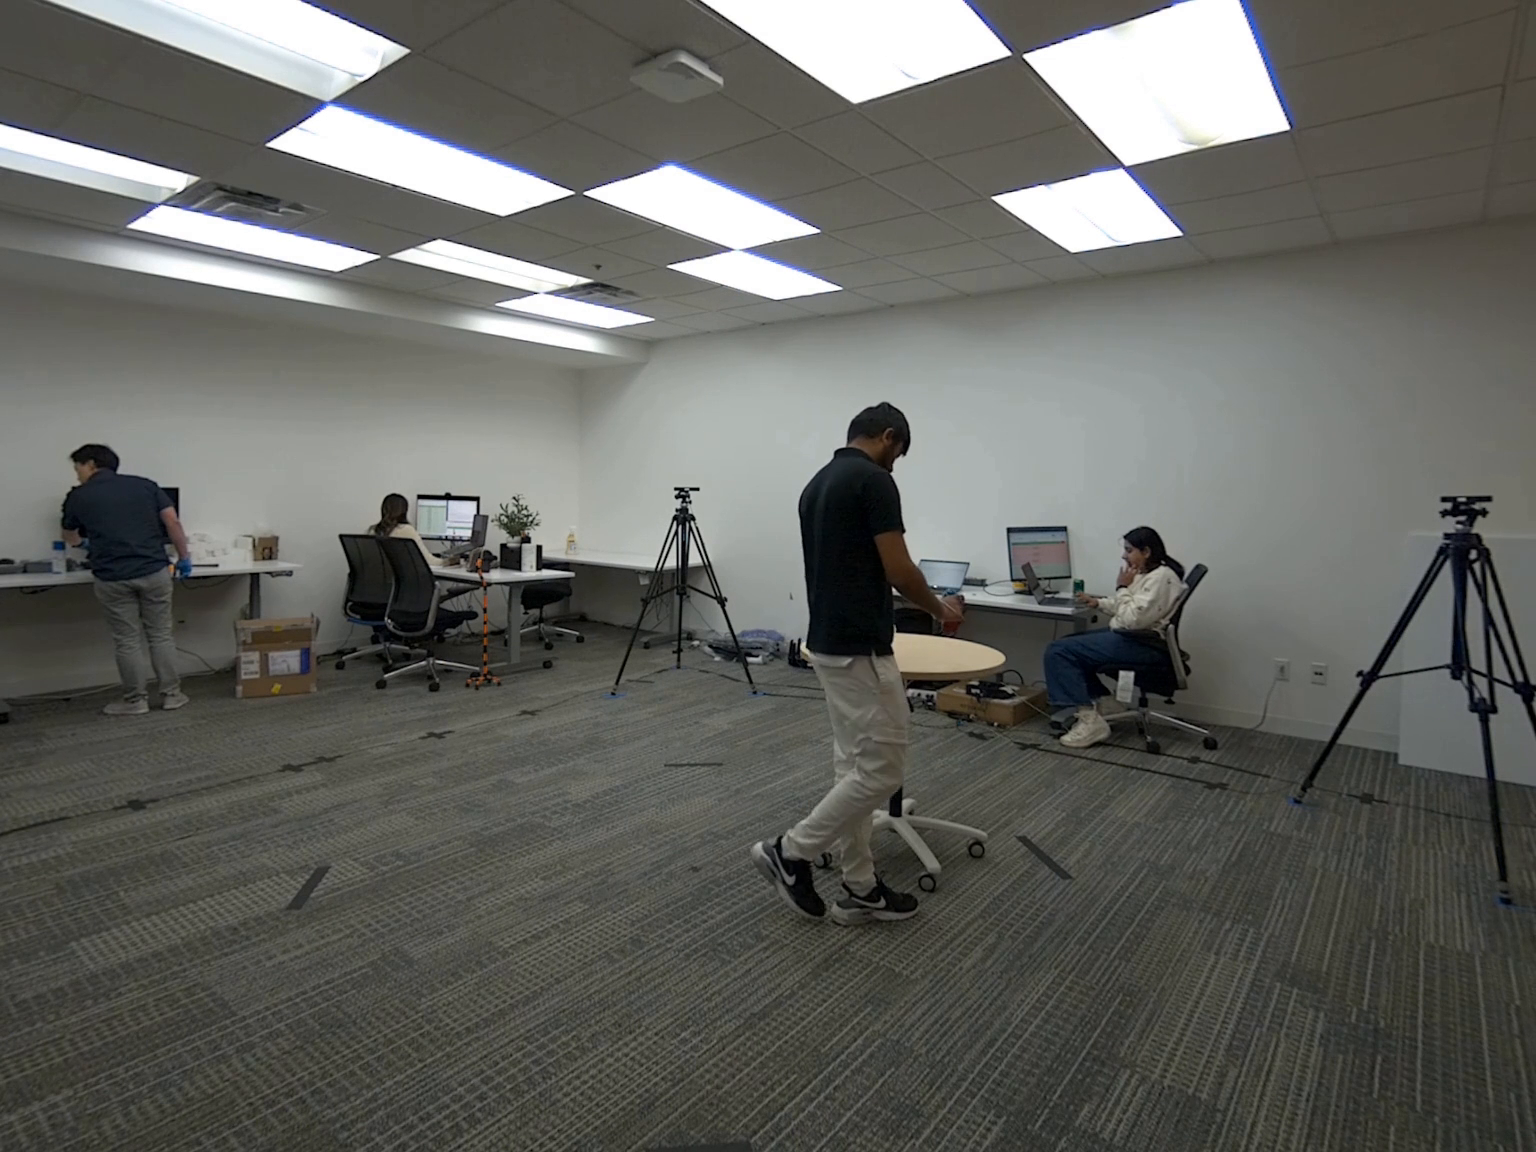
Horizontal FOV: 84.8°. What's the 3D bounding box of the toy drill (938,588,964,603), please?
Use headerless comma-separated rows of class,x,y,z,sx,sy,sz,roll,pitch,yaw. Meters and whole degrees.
toy drill,0.597,0.135,2.835,0.062,0.148,0.164,8,-38,13
